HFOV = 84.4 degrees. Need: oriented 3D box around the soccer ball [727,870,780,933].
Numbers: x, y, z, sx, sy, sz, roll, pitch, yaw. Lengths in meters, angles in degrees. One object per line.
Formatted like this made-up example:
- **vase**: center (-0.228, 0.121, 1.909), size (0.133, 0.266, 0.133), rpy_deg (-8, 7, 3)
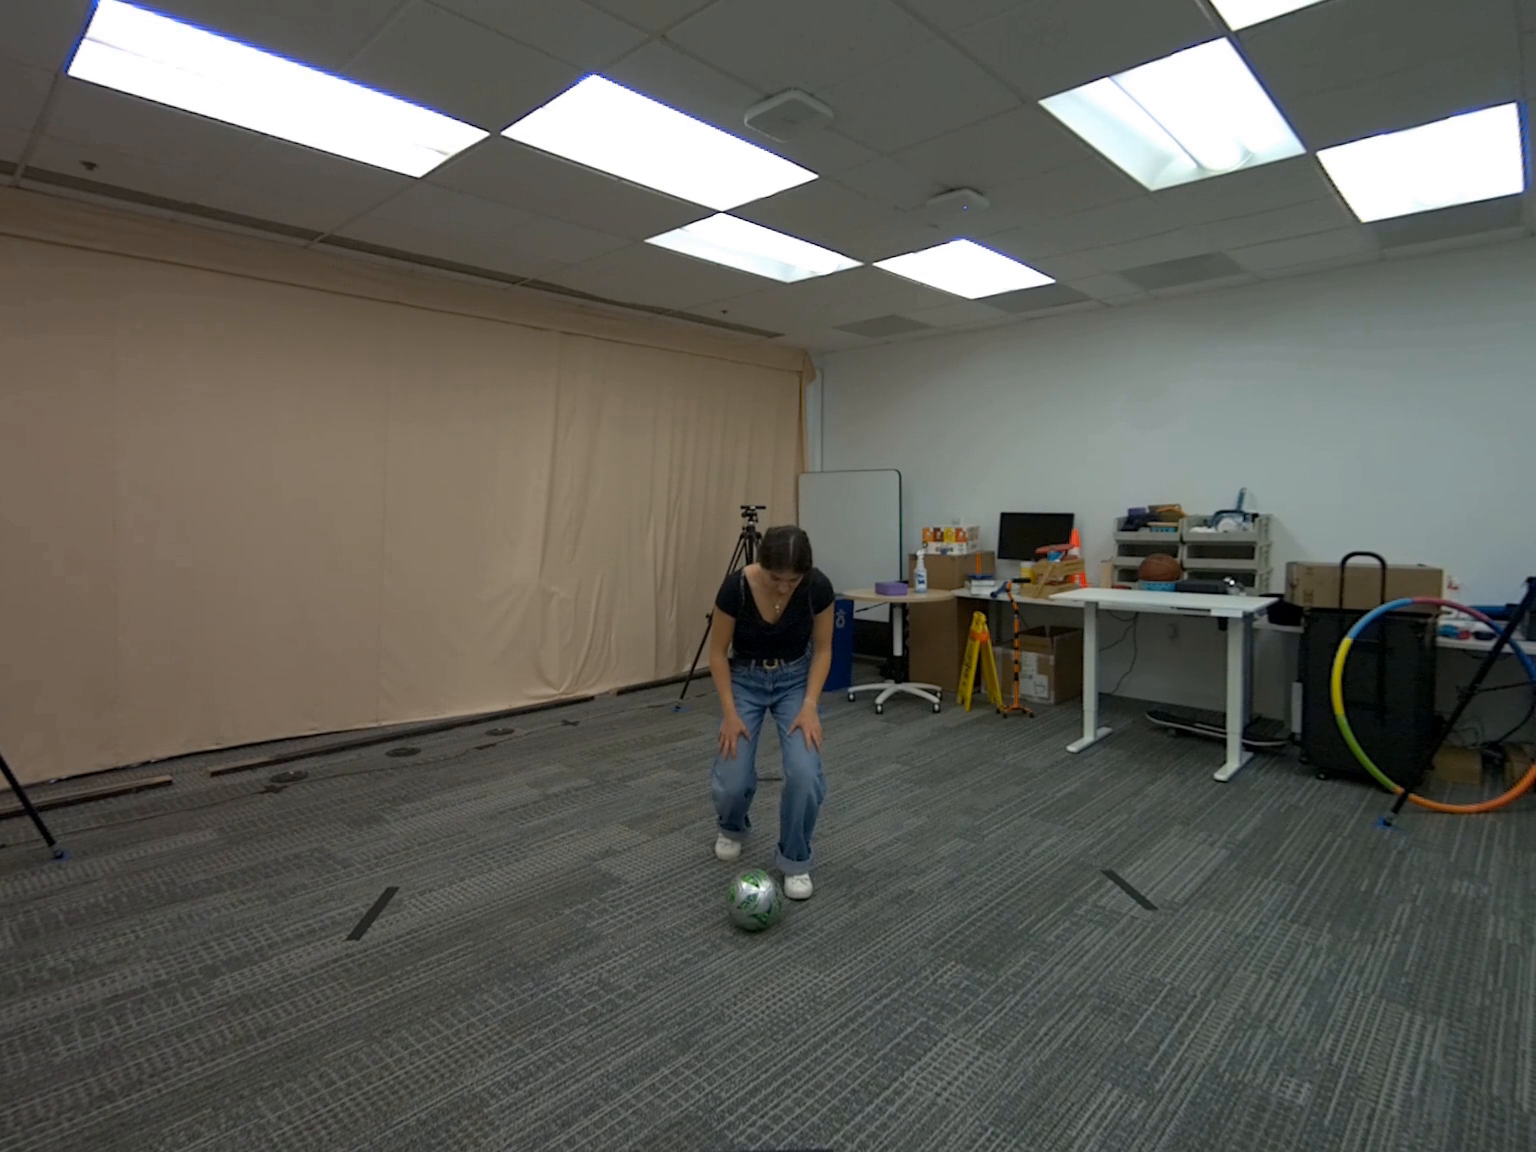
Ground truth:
- **soccer ball**: center (-0.040, 1.069, 2.776), size (0.187, 0.187, 0.188), rpy_deg (0, 4, -2)
